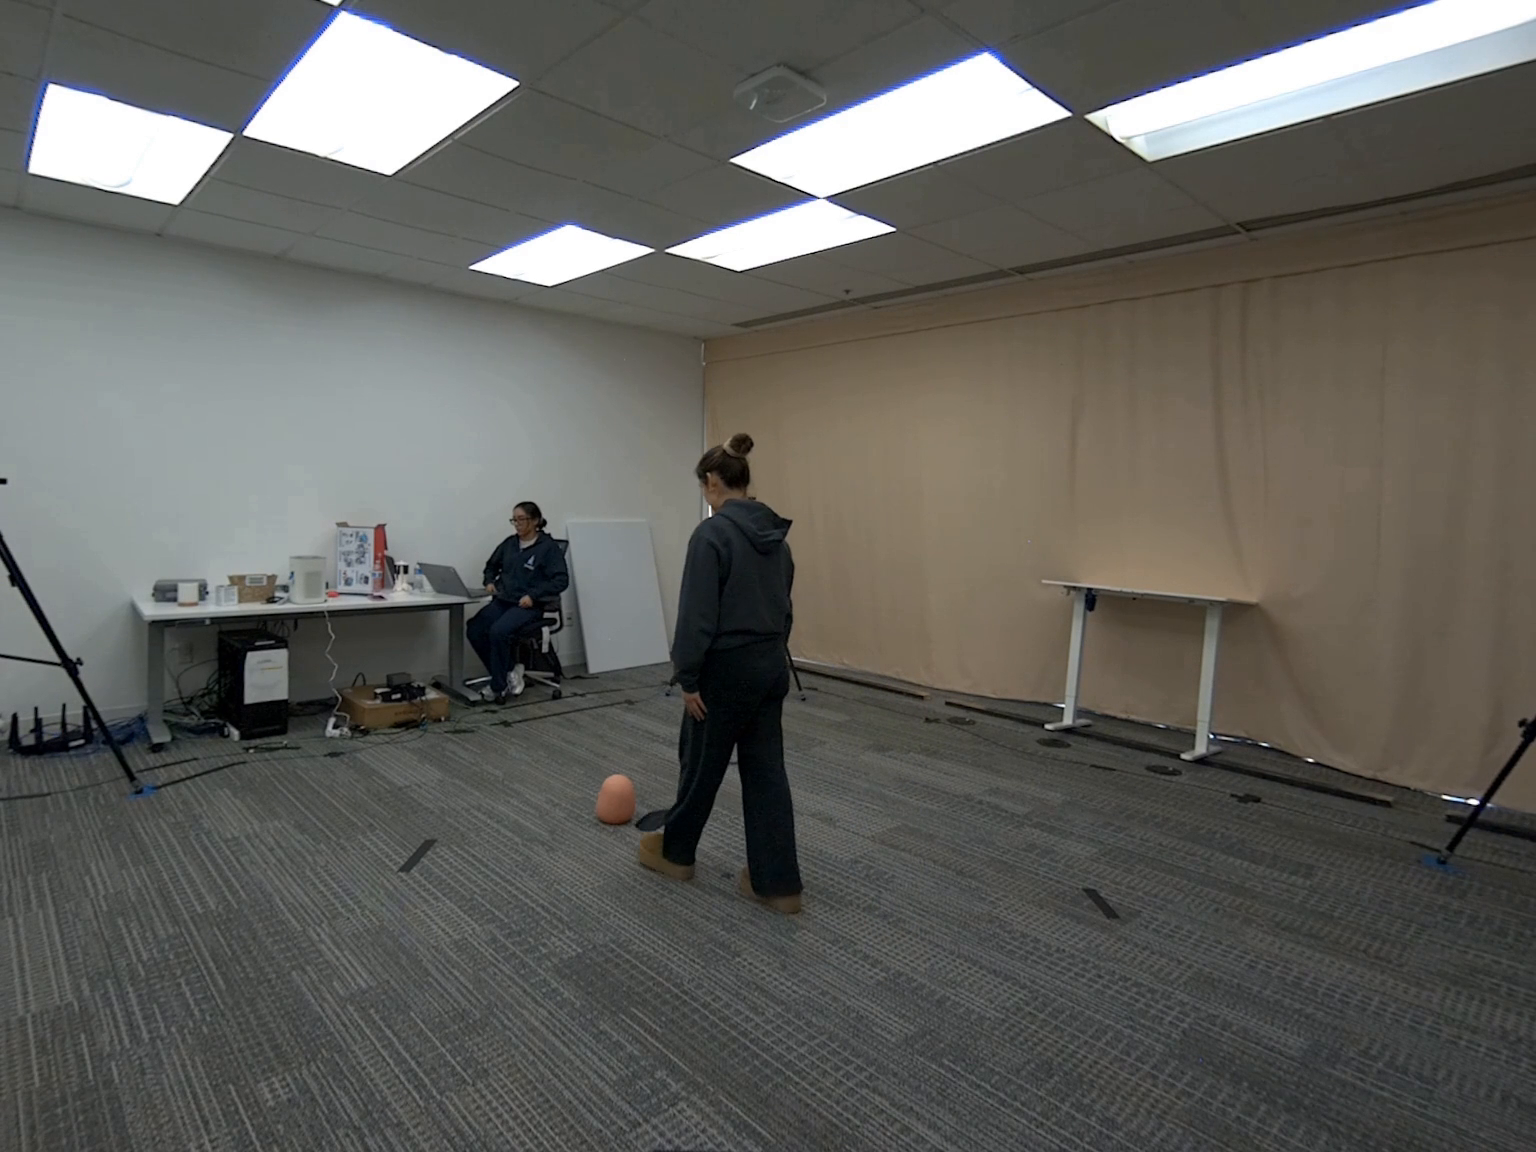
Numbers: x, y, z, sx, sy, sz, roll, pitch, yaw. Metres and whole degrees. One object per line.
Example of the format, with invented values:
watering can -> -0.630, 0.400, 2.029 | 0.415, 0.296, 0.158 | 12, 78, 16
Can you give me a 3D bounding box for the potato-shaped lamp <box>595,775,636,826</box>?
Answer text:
potato-shaped lamp -> -0.664, 0.951, 3.618 | 0.161, 0.198, 0.176 | 0, 4, -39
